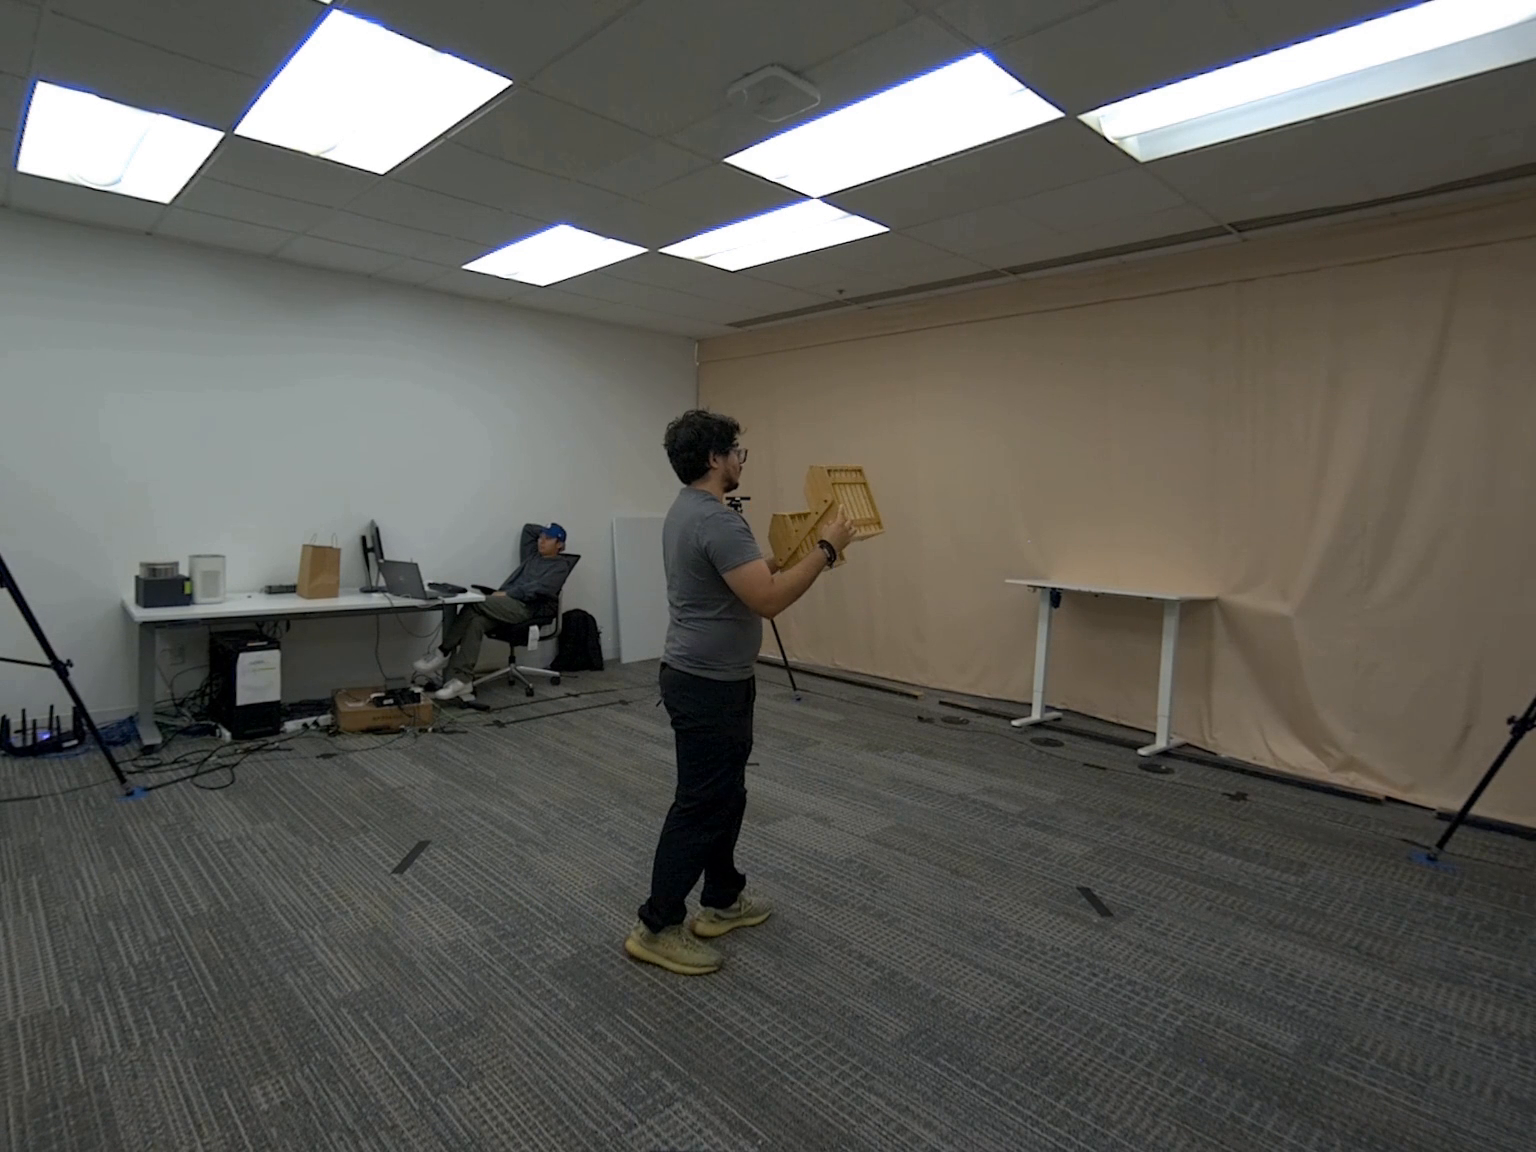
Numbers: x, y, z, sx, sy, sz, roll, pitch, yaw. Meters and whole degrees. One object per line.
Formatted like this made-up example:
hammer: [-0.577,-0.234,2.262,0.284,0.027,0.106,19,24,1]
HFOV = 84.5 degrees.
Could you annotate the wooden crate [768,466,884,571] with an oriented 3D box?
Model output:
wooden crate: [0.166,-0.178,2.693,0.276,0.304,0.319,-23,-6,27]
